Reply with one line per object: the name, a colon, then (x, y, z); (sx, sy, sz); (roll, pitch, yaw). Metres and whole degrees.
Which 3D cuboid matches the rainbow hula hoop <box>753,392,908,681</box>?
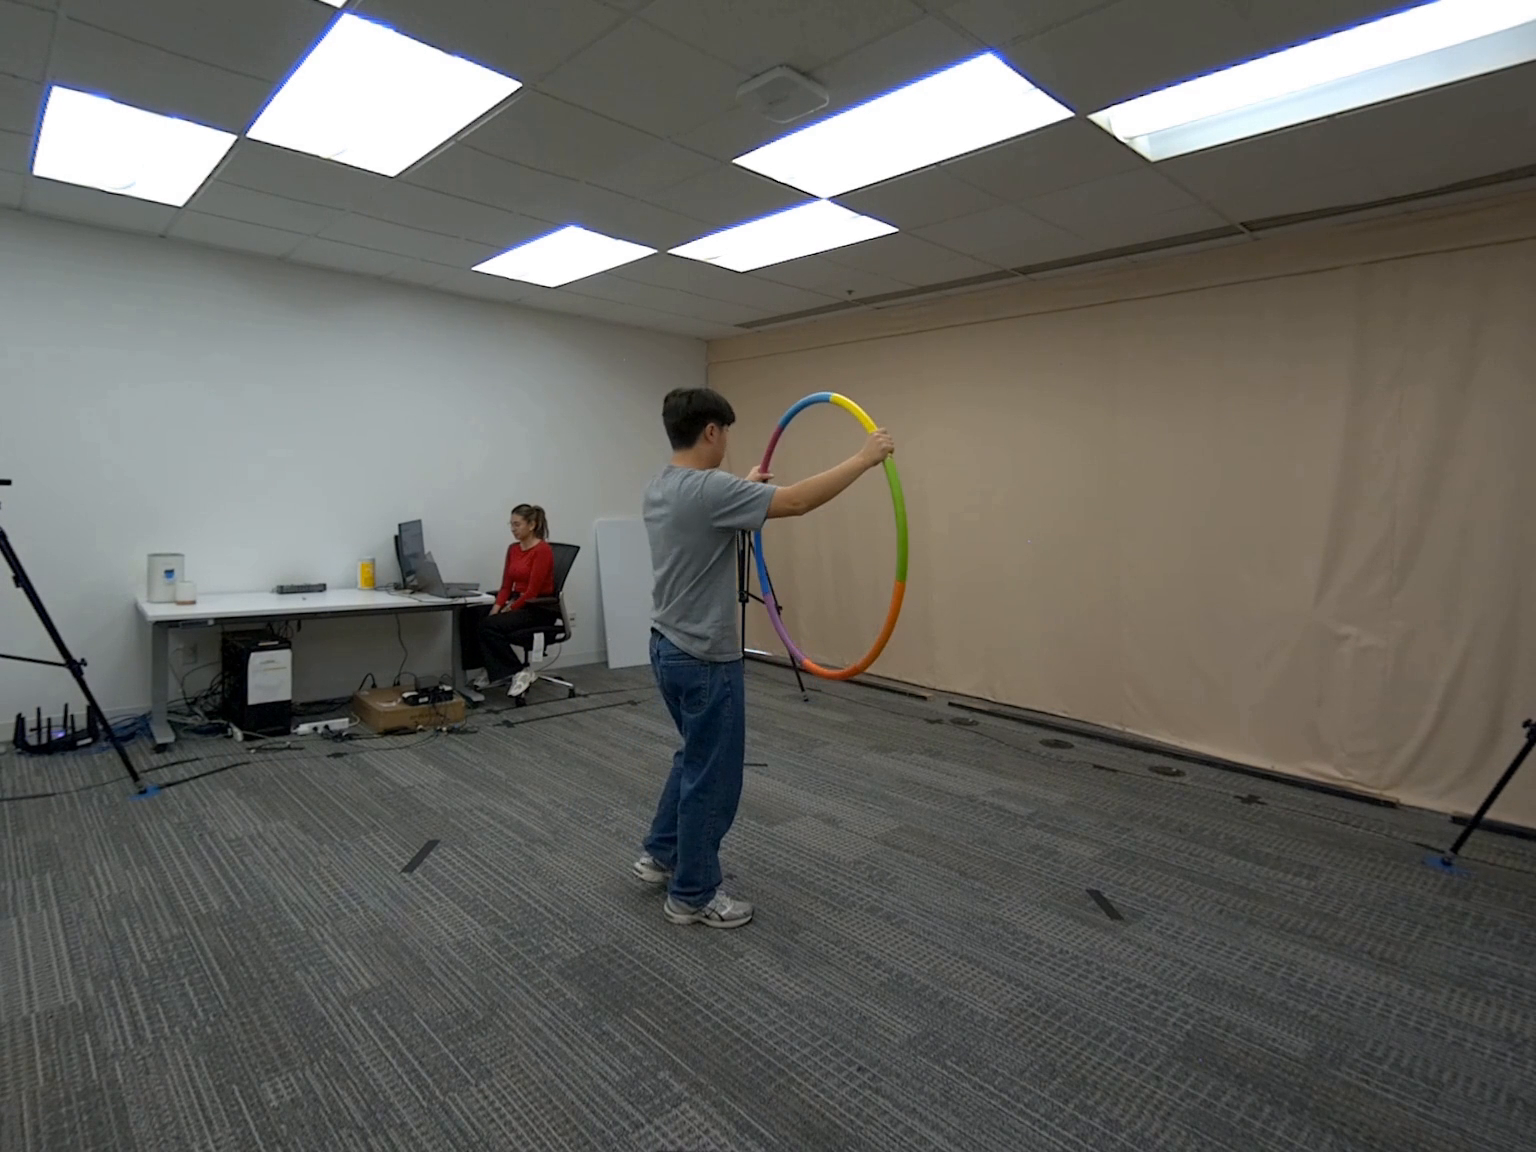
rainbow hula hoop: (0.161, -0.135, 2.930); (0.035, 0.975, 0.999); (-3, 6, -26)
